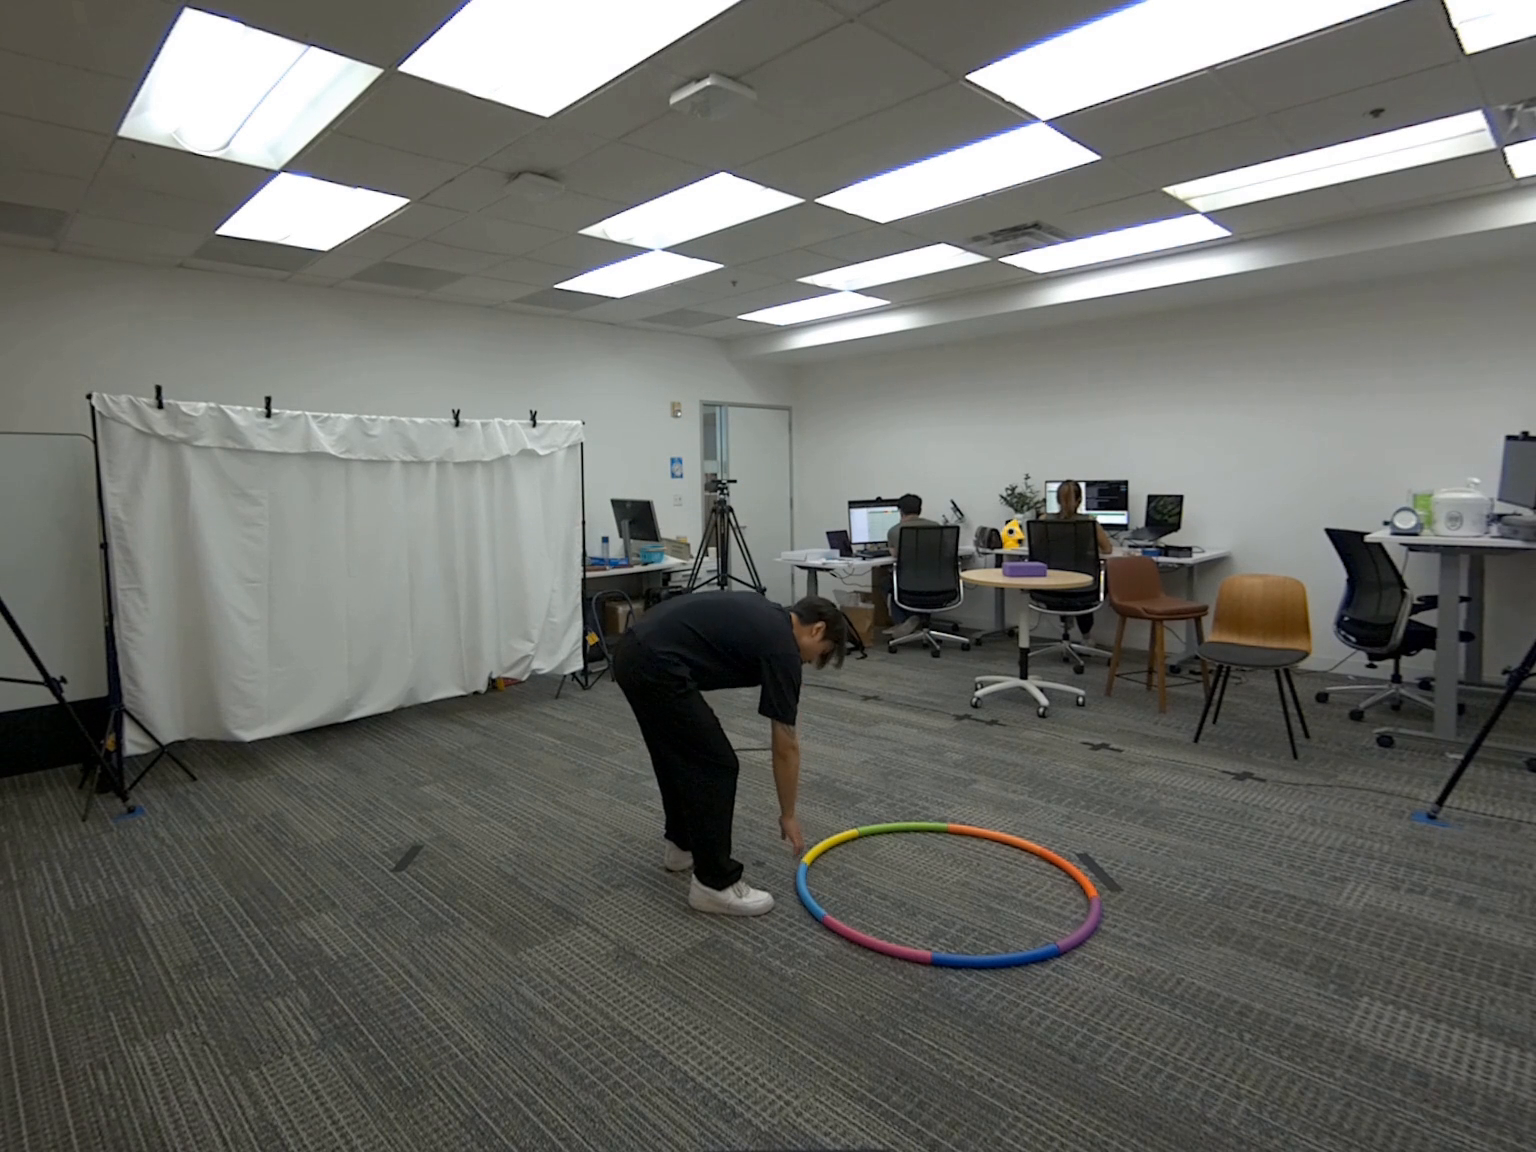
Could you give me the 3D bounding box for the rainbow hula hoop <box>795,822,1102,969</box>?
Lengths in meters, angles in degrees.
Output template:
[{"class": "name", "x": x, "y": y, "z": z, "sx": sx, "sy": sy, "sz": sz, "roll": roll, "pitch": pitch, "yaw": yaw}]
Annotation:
[{"class": "rainbow hula hoop", "x": 0.589, "y": 1.031, "z": 2.904, "sx": 0.978, "sy": 0.035, "sz": 0.984, "roll": -1, "pitch": 6, "yaw": -2}]
